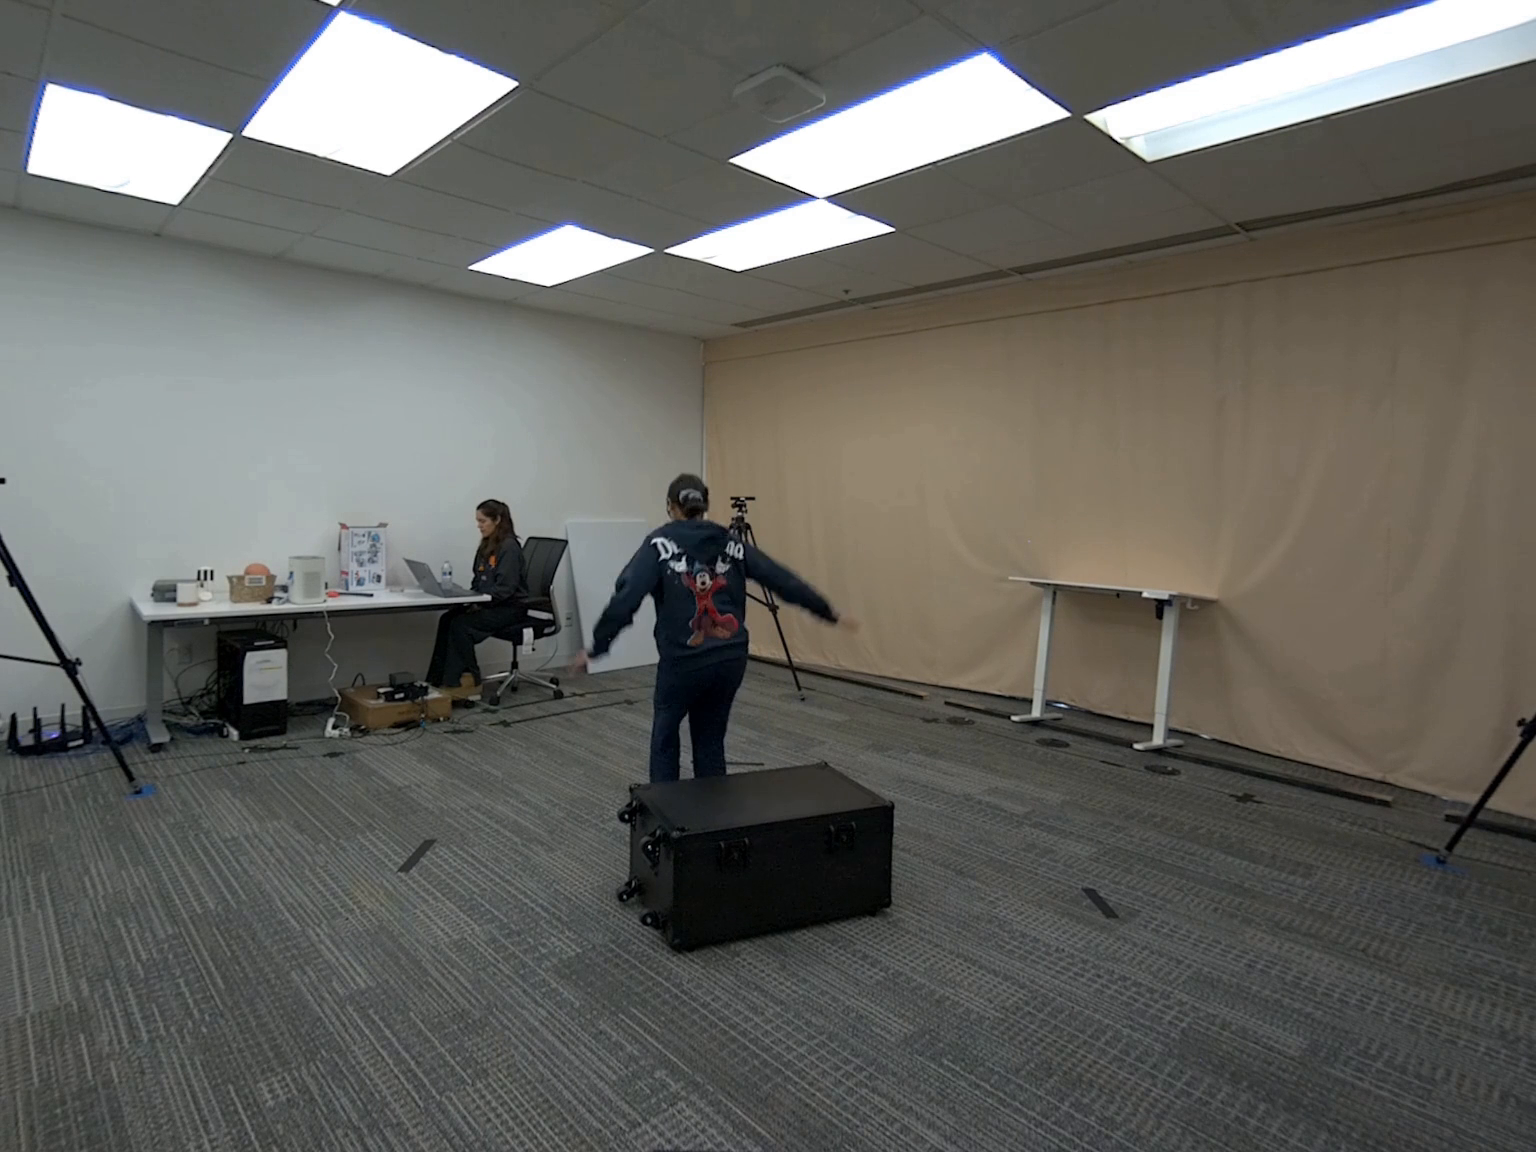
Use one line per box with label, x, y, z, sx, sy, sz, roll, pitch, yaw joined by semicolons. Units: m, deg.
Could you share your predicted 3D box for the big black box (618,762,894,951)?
big black box;-0.060;0.956;2.875;0.845;0.520;0.404;-1;3;-26
